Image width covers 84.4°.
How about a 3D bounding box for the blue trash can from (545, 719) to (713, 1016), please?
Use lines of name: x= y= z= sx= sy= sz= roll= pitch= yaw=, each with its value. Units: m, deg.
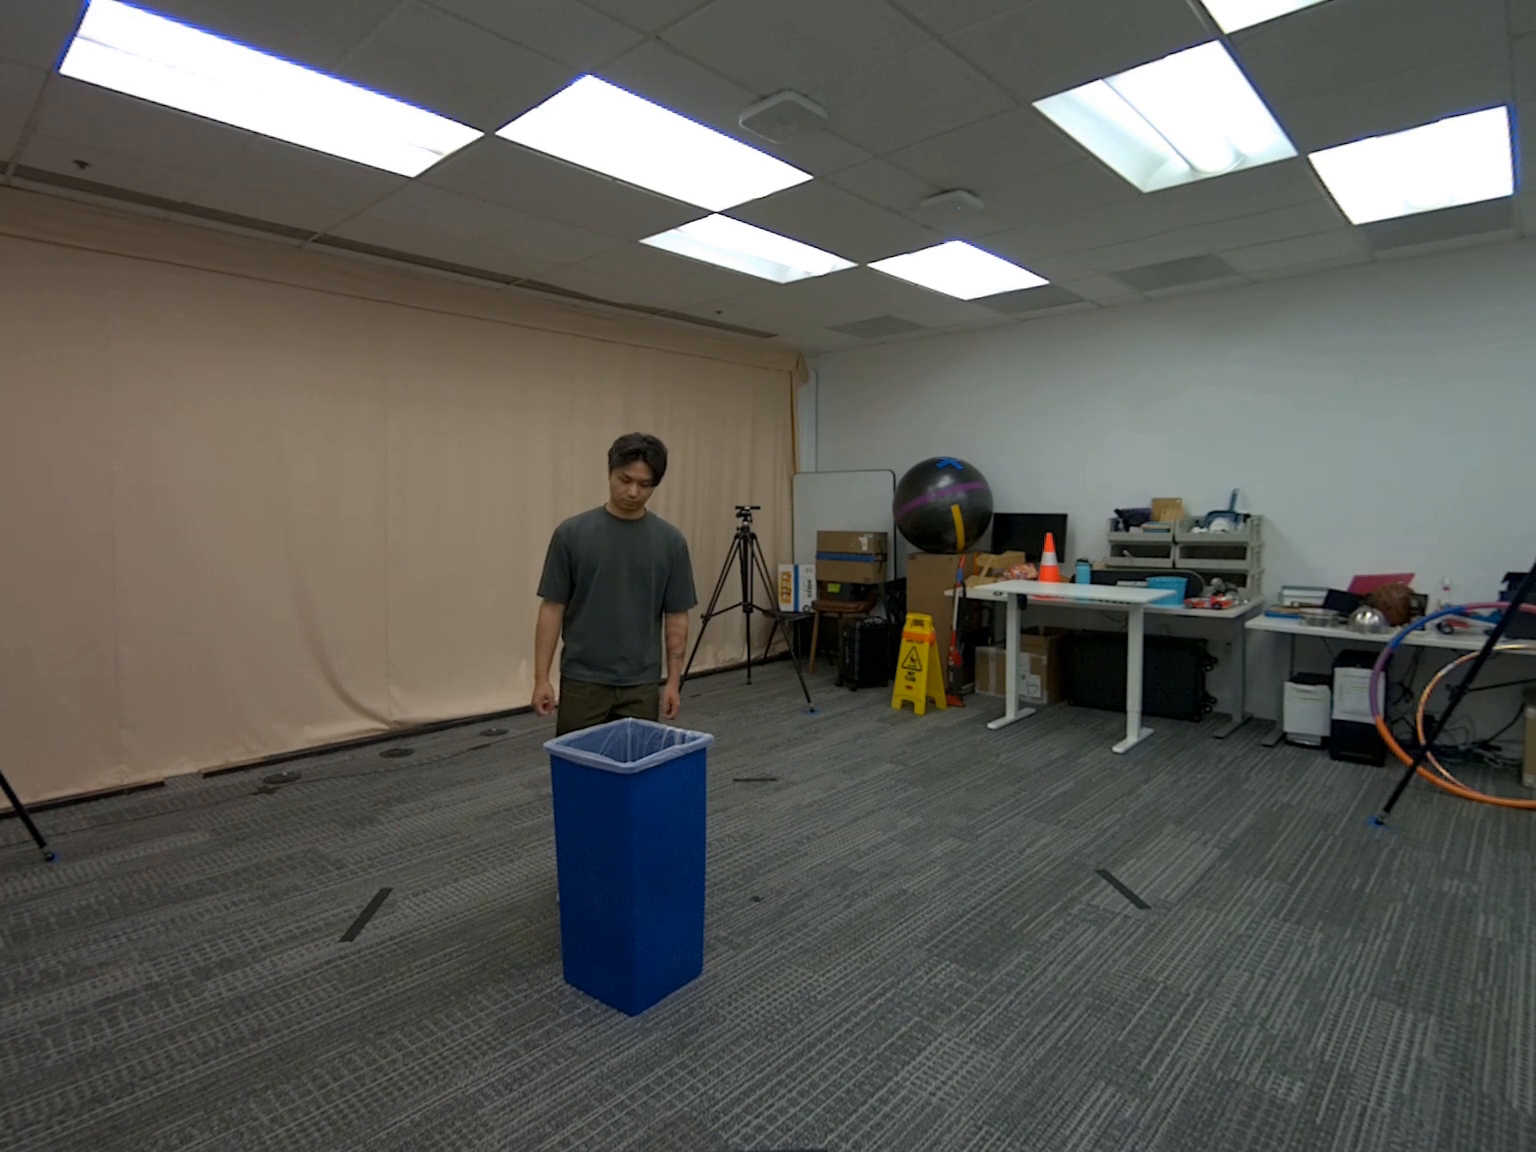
blue trash can: x=-0.392 y=0.833 z=2.475 sx=0.386 sy=0.712 sz=0.367 roll=1 pitch=4 yaw=37
